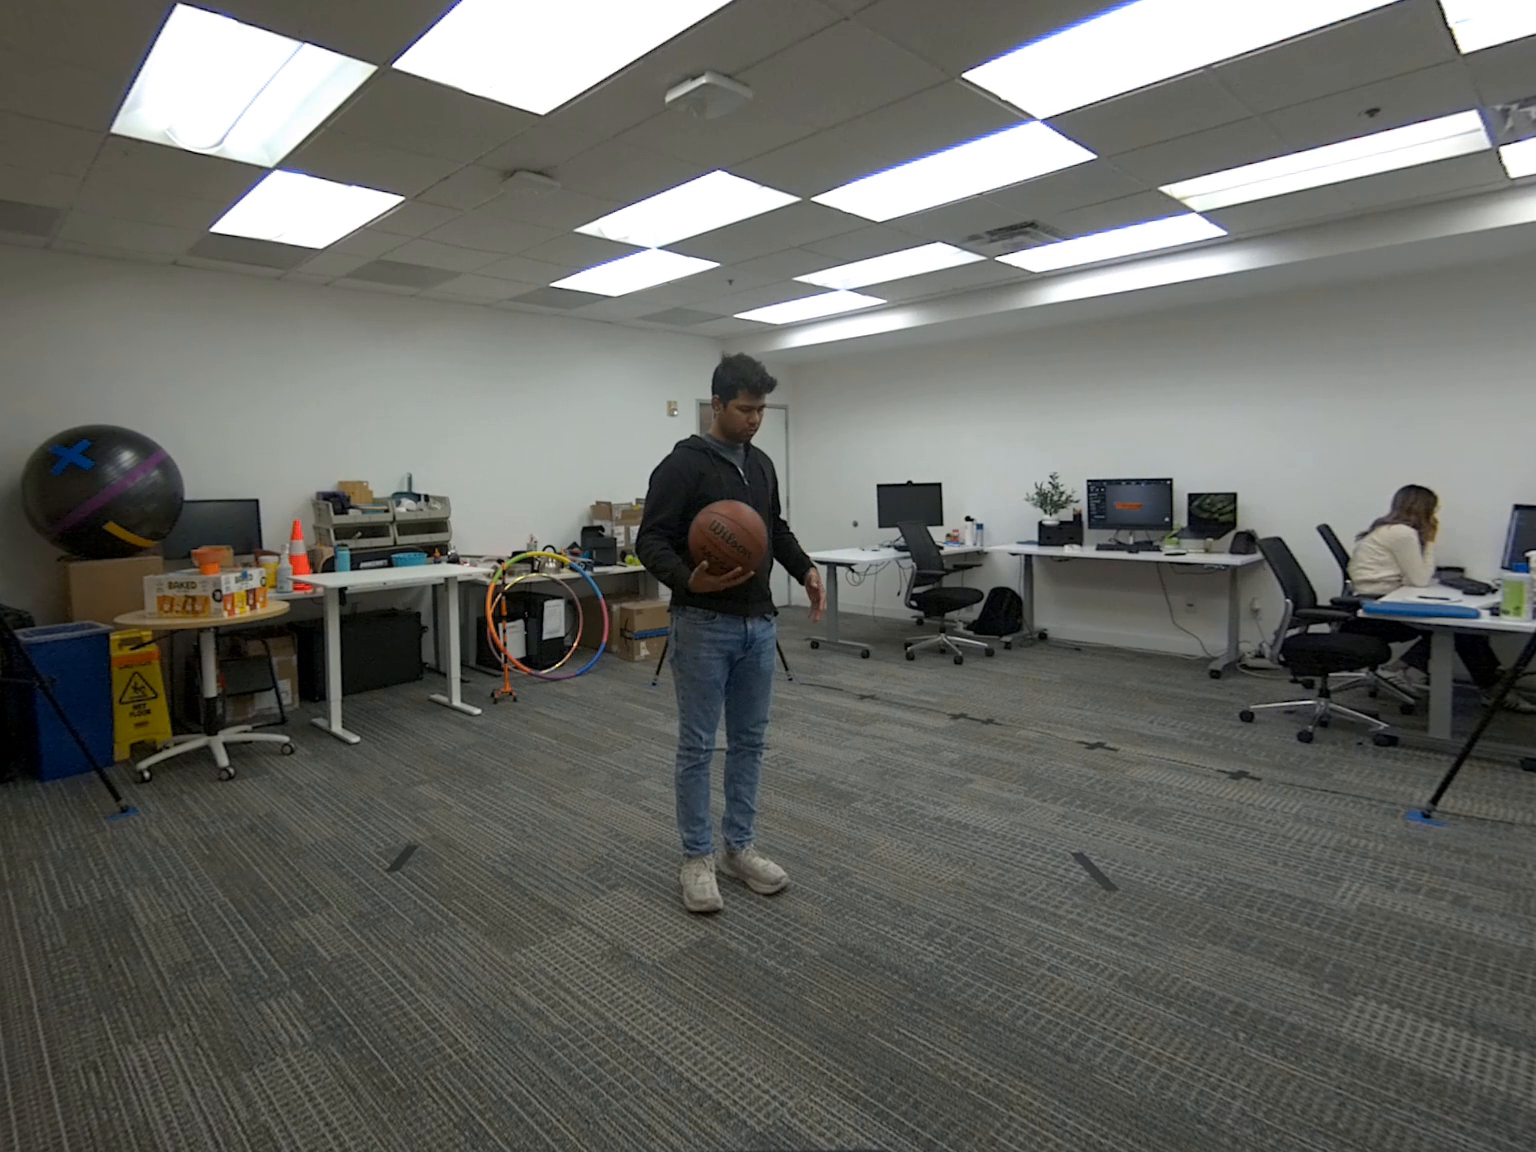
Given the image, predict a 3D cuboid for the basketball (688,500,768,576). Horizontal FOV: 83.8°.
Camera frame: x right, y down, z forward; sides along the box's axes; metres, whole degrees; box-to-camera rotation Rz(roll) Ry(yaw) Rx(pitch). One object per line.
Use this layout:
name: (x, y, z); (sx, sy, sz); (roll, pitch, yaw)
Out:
basketball: (-0.125, -0.113, 2.594); (0.236, 0.235, 0.237); (-1, 5, -2)
